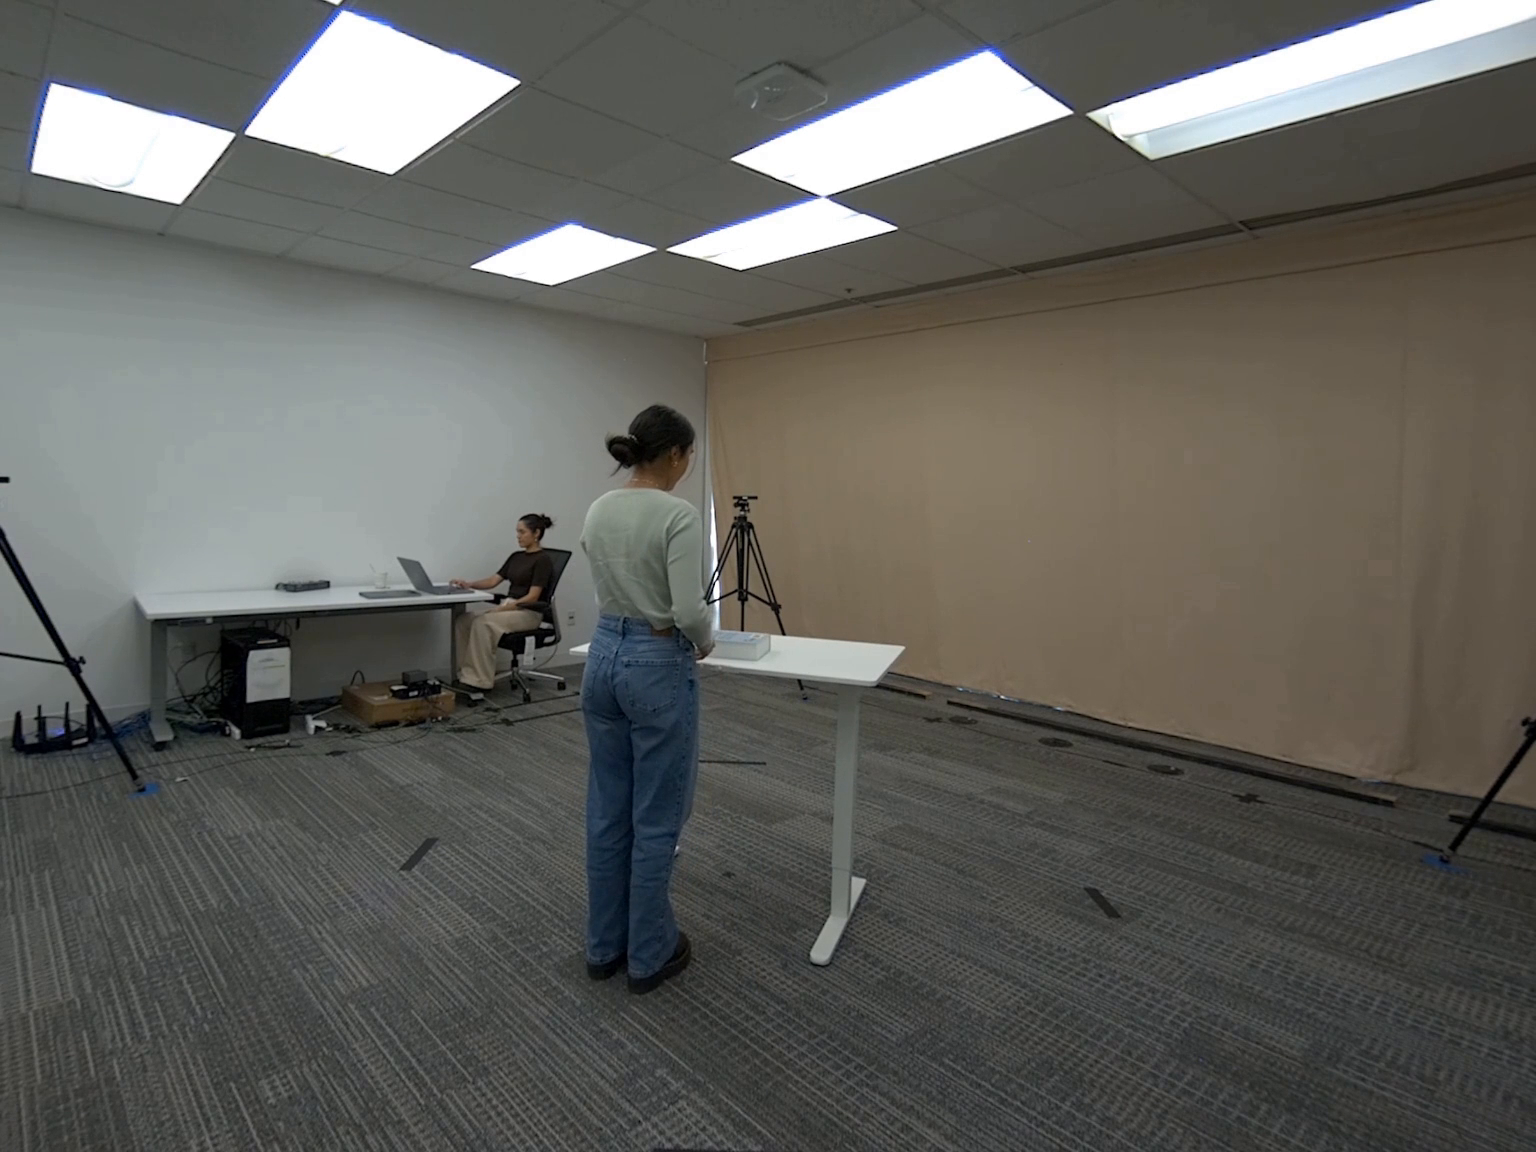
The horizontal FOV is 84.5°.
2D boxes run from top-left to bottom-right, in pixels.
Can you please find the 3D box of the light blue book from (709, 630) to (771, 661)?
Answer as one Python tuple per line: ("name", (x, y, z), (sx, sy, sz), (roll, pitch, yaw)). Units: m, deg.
("light blue book", (-0.141, 0.226, 2.753), (0.264, 0.059, 0.190), (2, 6, 14))
